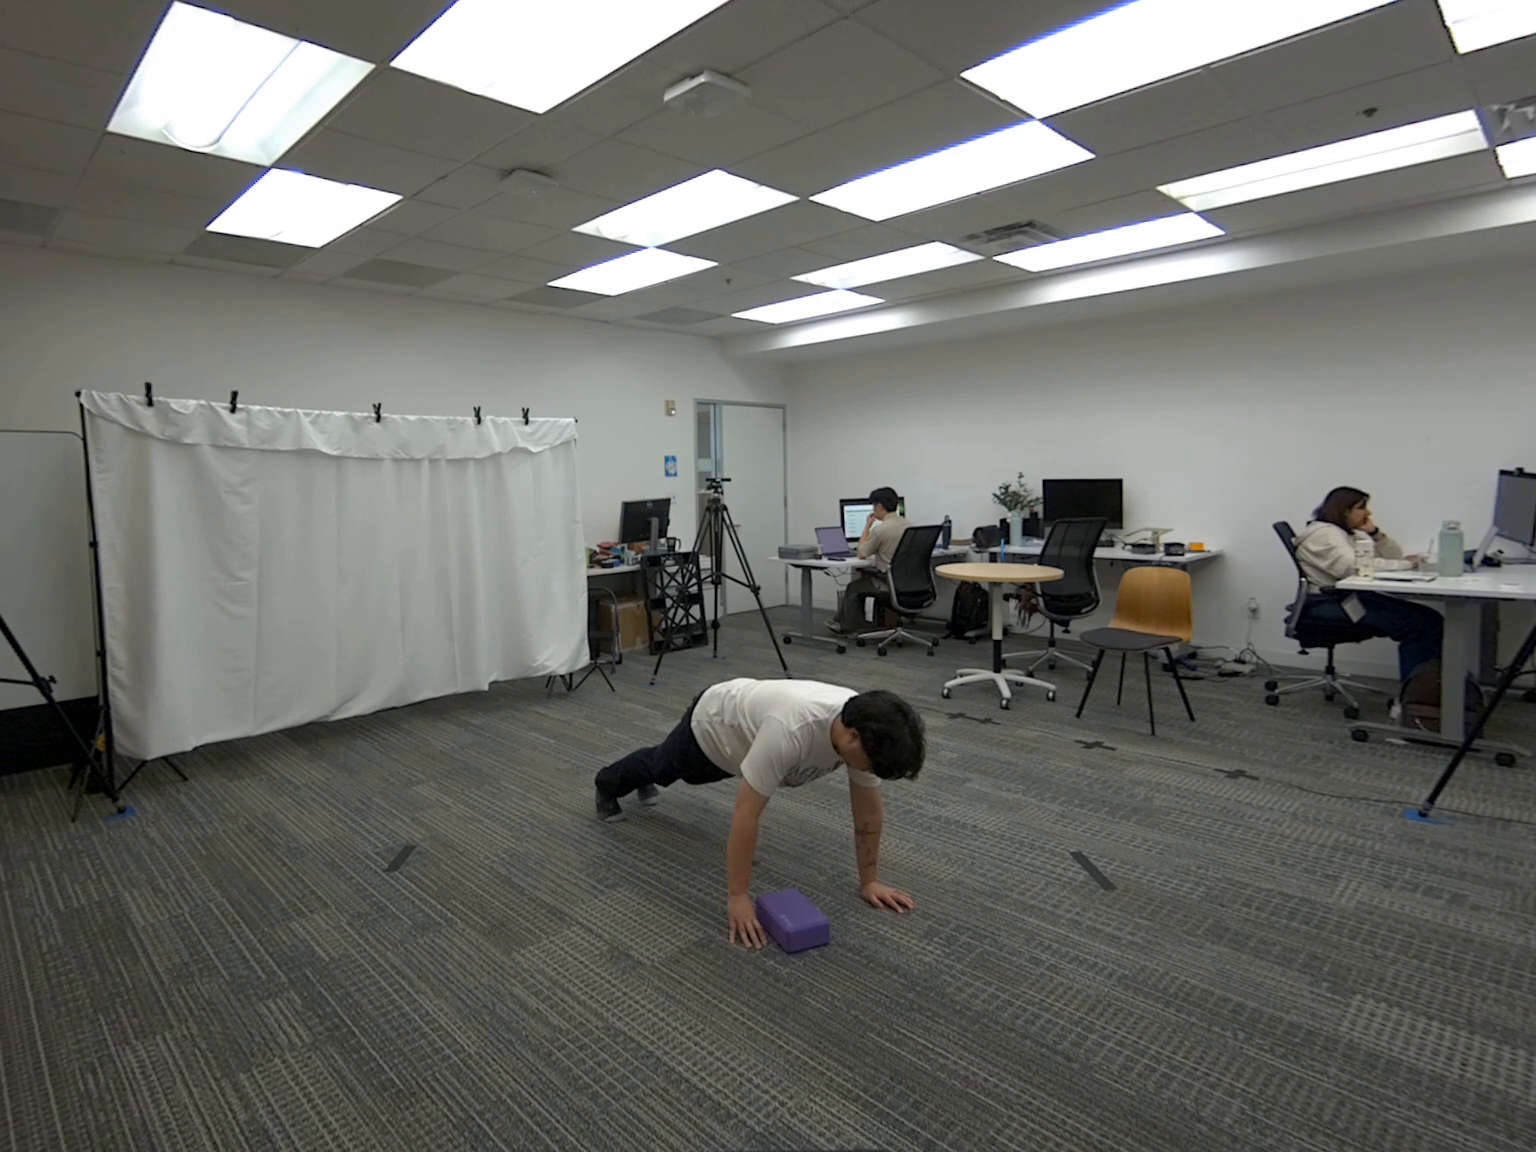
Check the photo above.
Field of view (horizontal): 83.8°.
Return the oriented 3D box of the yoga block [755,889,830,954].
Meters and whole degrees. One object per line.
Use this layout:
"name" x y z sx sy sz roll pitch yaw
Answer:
"yoga block" 0.077 1.052 2.634 0.146 0.076 0.235 -5 8 -24
